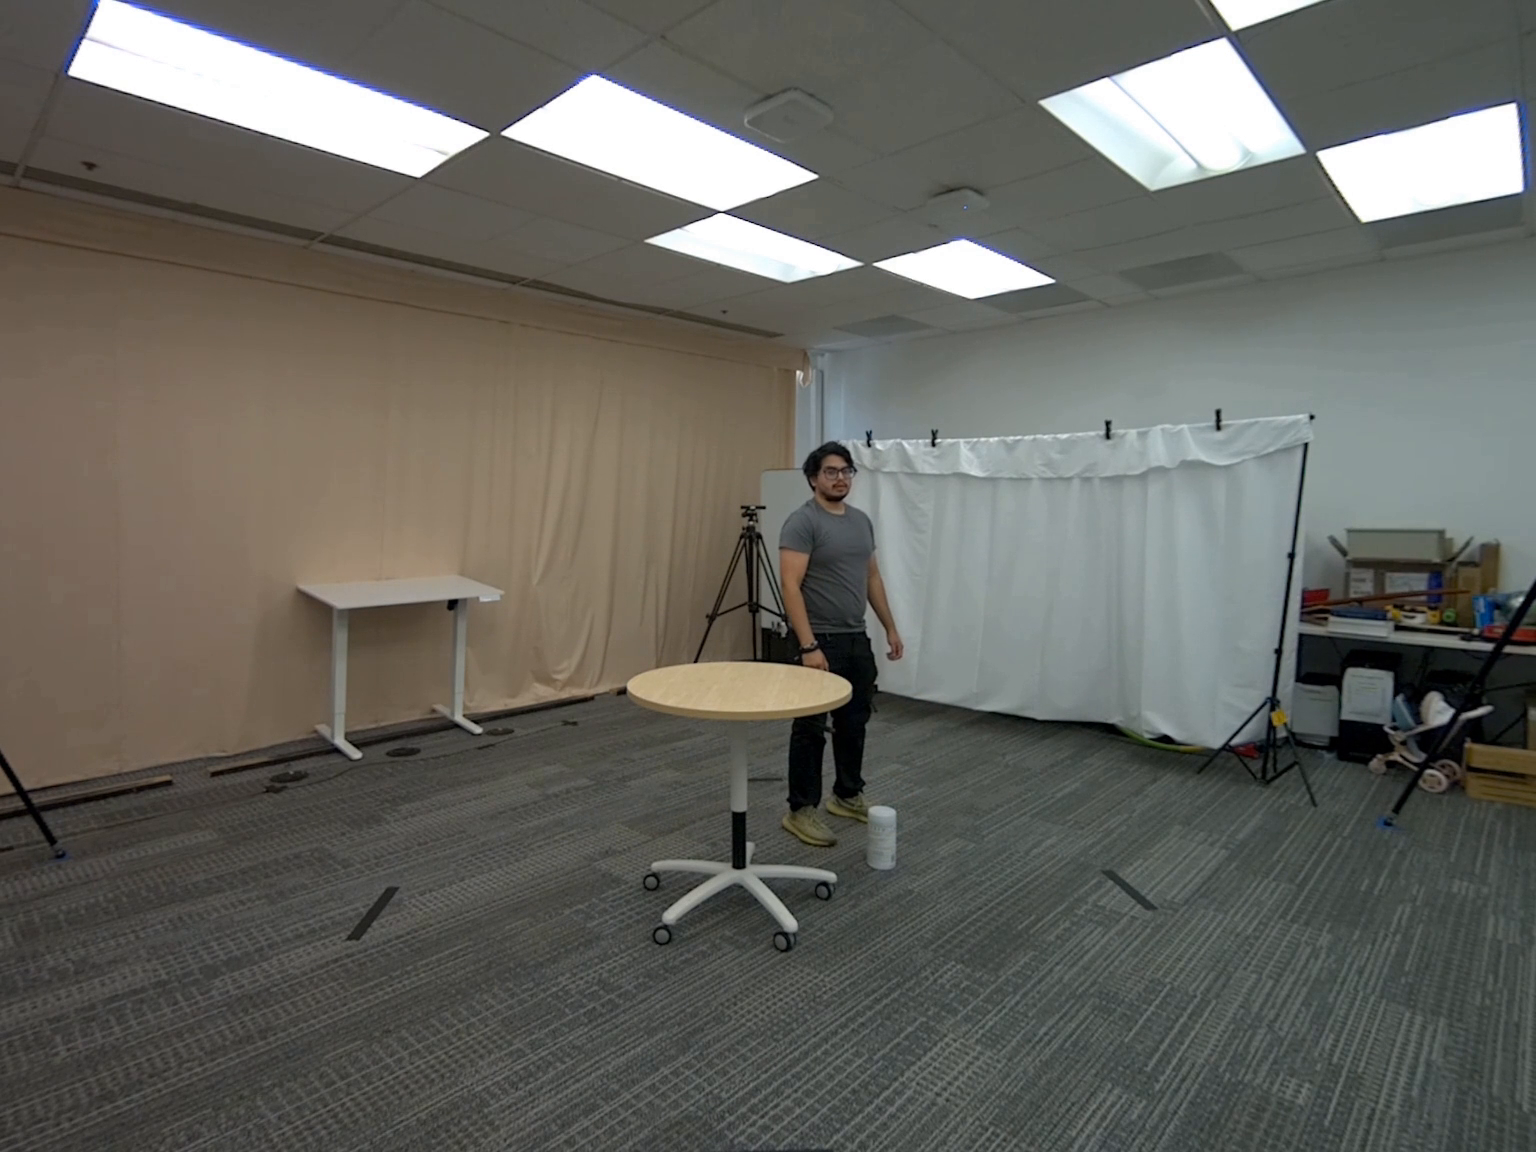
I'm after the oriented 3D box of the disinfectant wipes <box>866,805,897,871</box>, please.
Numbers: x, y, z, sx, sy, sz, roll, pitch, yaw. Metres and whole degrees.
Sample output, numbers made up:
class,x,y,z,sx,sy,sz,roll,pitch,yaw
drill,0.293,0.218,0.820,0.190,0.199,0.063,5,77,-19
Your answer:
class,x,y,z,sx,sy,sz,roll,pitch,yaw
disinfectant wipes,0.438,1.008,3.260,0.118,0.217,0.118,-1,5,-2
